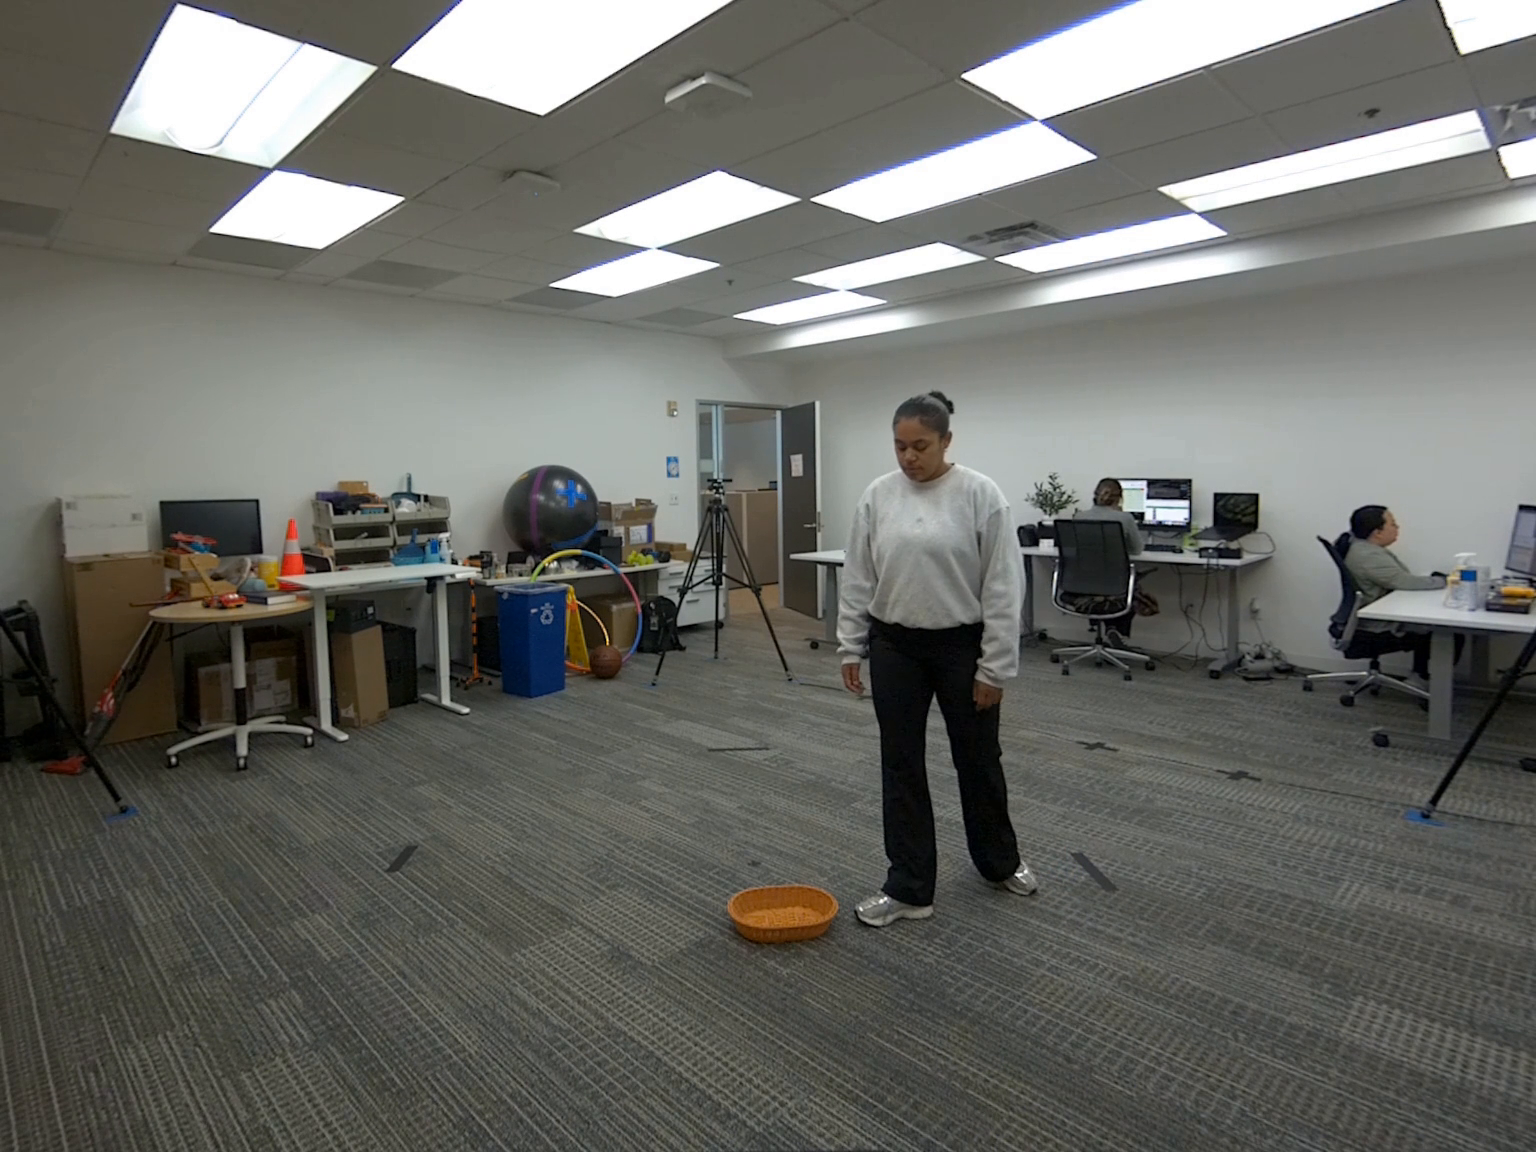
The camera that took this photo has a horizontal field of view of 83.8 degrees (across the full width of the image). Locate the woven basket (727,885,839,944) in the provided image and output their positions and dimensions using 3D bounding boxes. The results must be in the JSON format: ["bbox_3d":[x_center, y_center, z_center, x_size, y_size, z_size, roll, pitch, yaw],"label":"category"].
[{"bbox_3d":[0.049,1.051,2.667,0.349,0.073,0.255,-1,7,-4],"label":"woven basket"}]
